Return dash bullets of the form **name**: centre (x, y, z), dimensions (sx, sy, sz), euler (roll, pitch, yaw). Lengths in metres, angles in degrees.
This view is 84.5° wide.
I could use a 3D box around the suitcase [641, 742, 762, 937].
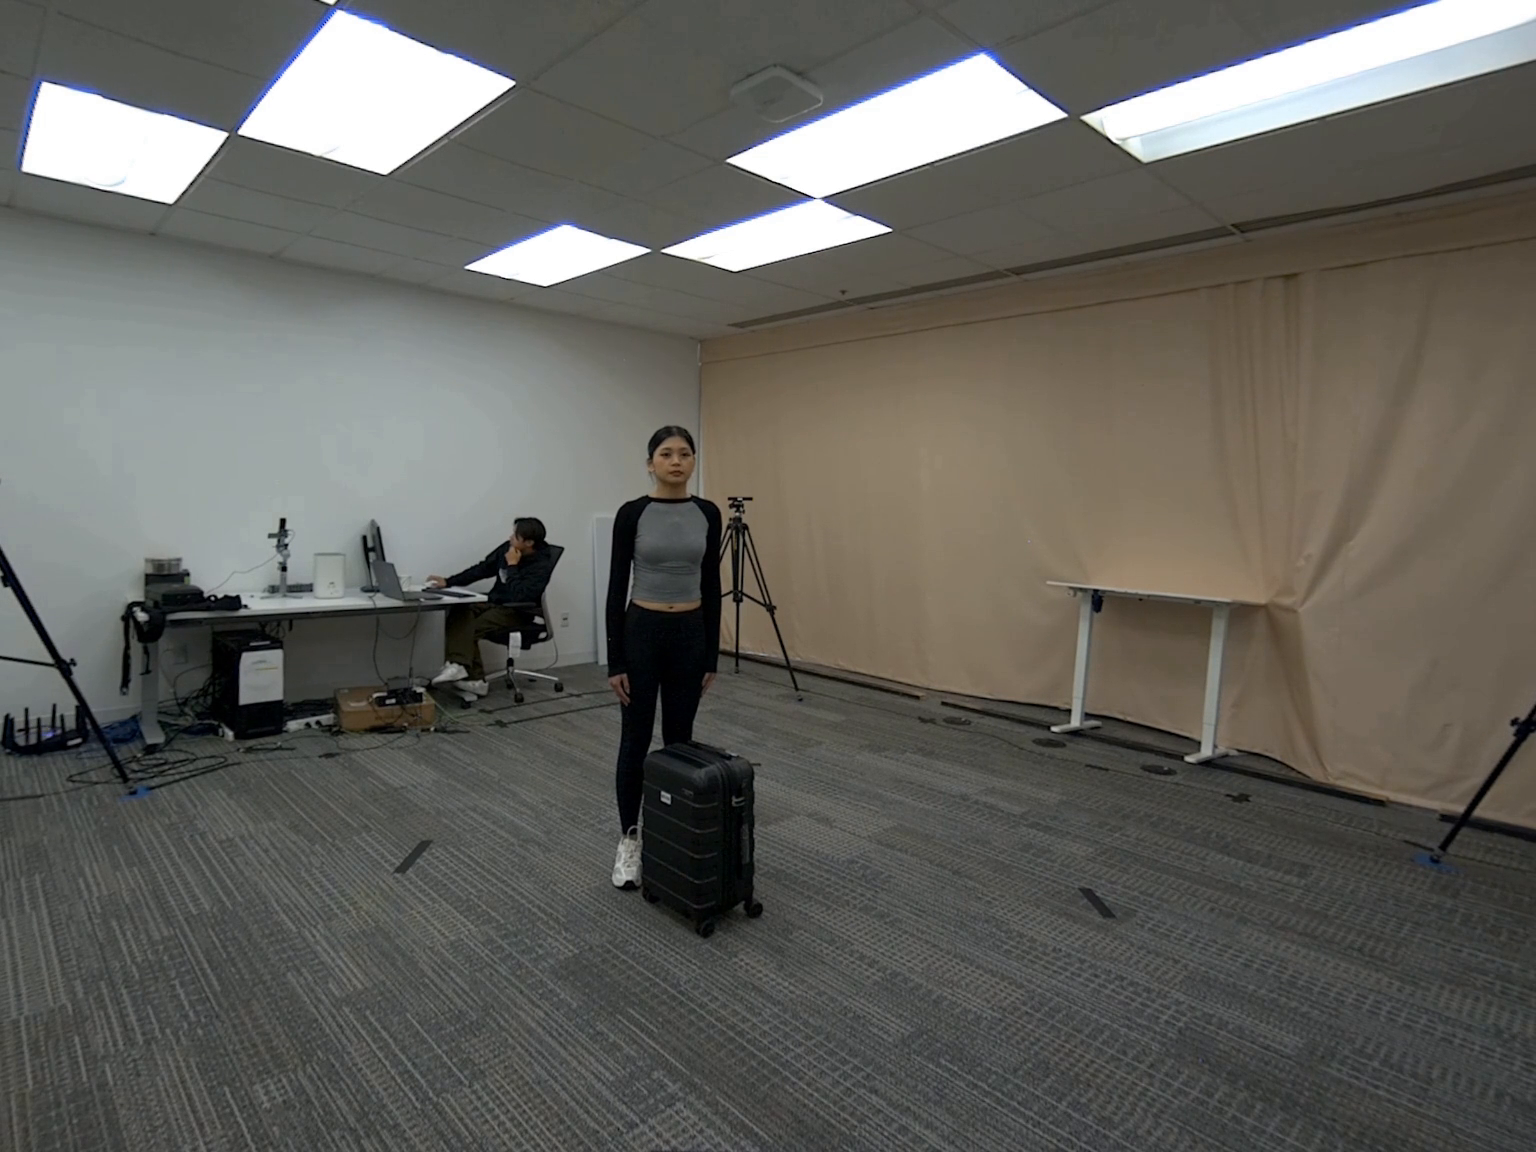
- **suitcase**: centre (-0.237, 0.856, 2.822), dimensions (0.243, 0.547, 0.385), euler (-4, 6, -42)
